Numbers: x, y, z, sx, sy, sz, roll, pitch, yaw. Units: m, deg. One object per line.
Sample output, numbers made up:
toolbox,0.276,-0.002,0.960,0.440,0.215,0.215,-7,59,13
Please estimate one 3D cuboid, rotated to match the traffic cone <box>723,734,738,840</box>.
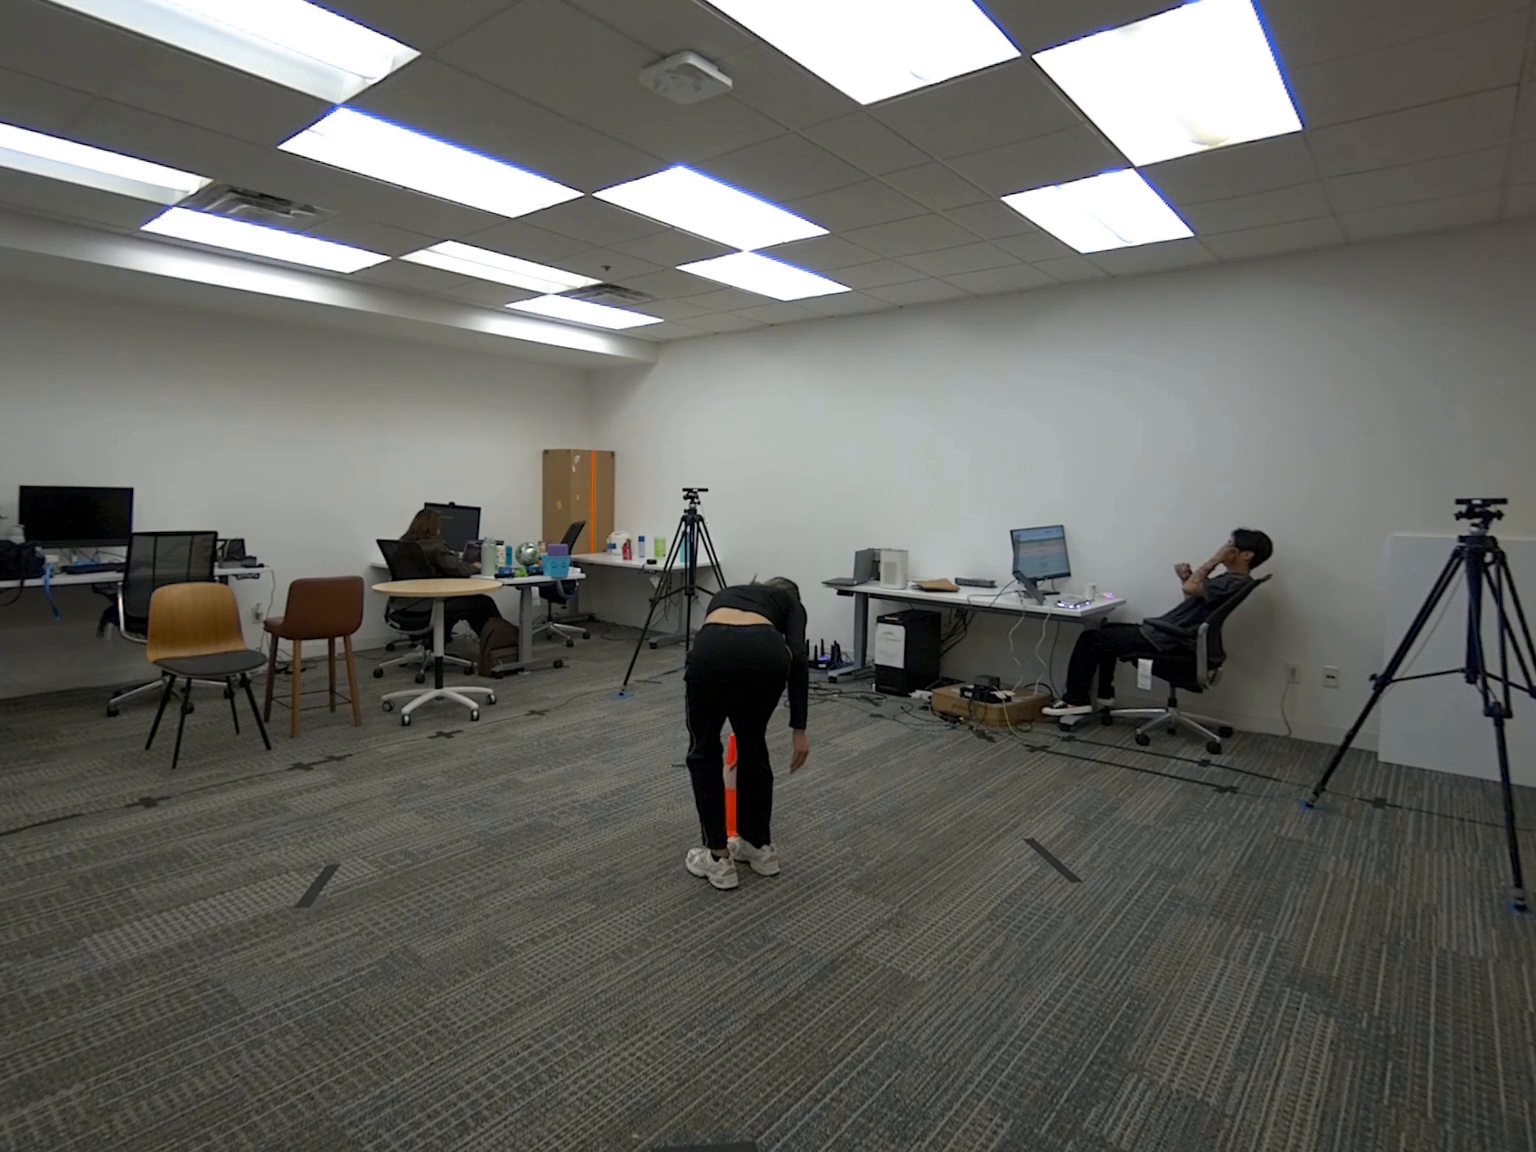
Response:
traffic cone,-0.151,0.830,3.508,0.210,0.382,0.199,3,6,44
